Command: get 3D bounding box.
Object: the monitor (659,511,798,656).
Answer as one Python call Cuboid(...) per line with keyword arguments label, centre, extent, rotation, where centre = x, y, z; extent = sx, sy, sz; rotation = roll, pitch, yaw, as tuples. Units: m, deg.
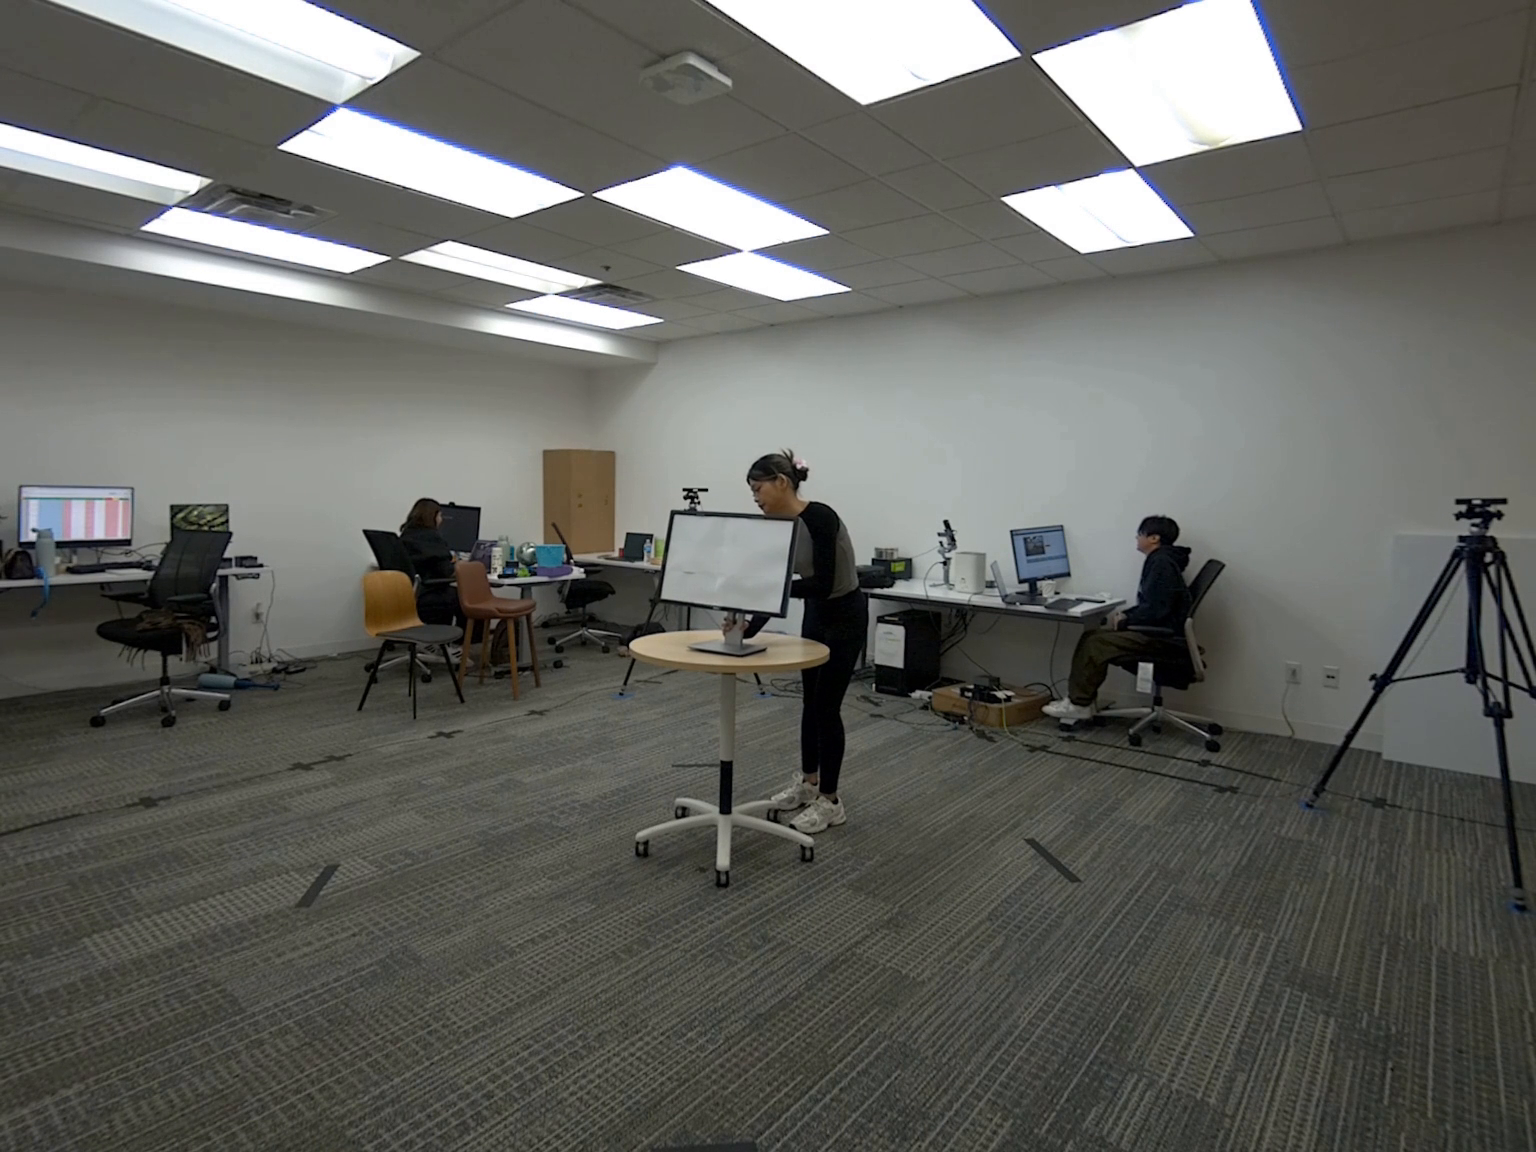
Cuboid(label="monitor", centre=(-0.147, 0.025, 3.168), extent=(0.555, 0.520, 0.182), rotation=(4, 6, 30))
